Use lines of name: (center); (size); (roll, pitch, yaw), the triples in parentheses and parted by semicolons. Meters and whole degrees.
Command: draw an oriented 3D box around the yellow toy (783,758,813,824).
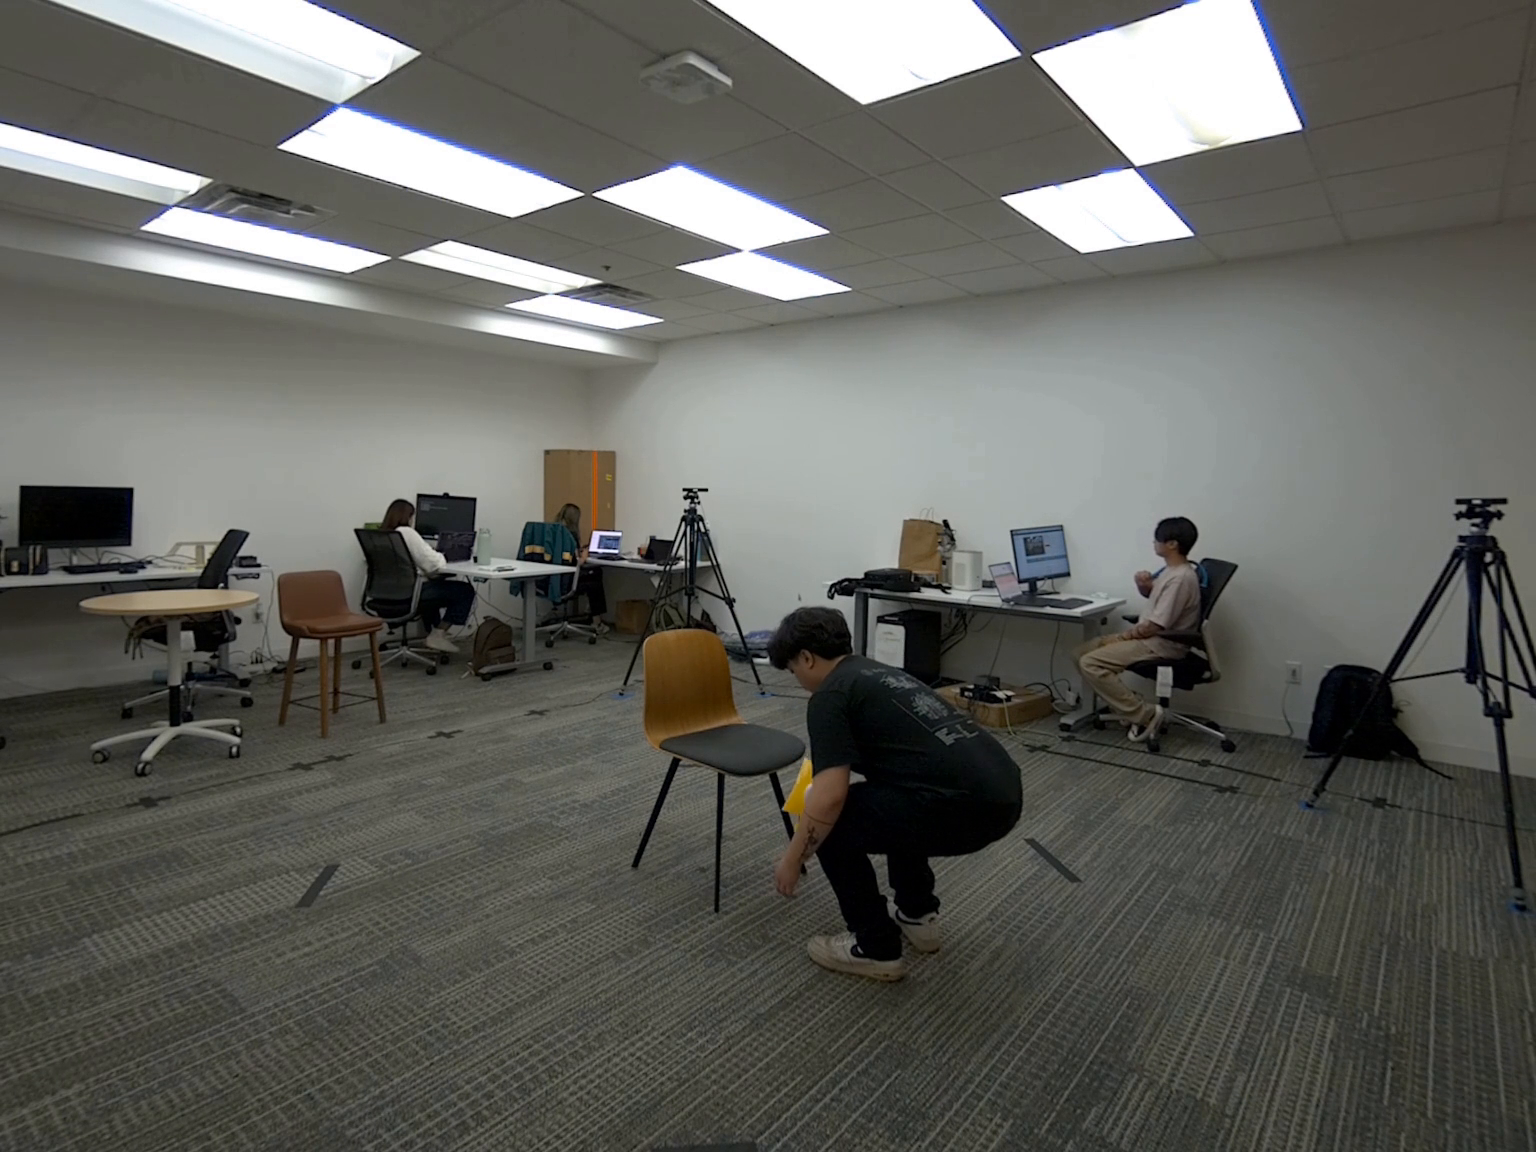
yellow toy: (0.165, 0.723, 2.828); (0.199, 0.229, 0.200); (9, 11, 30)
